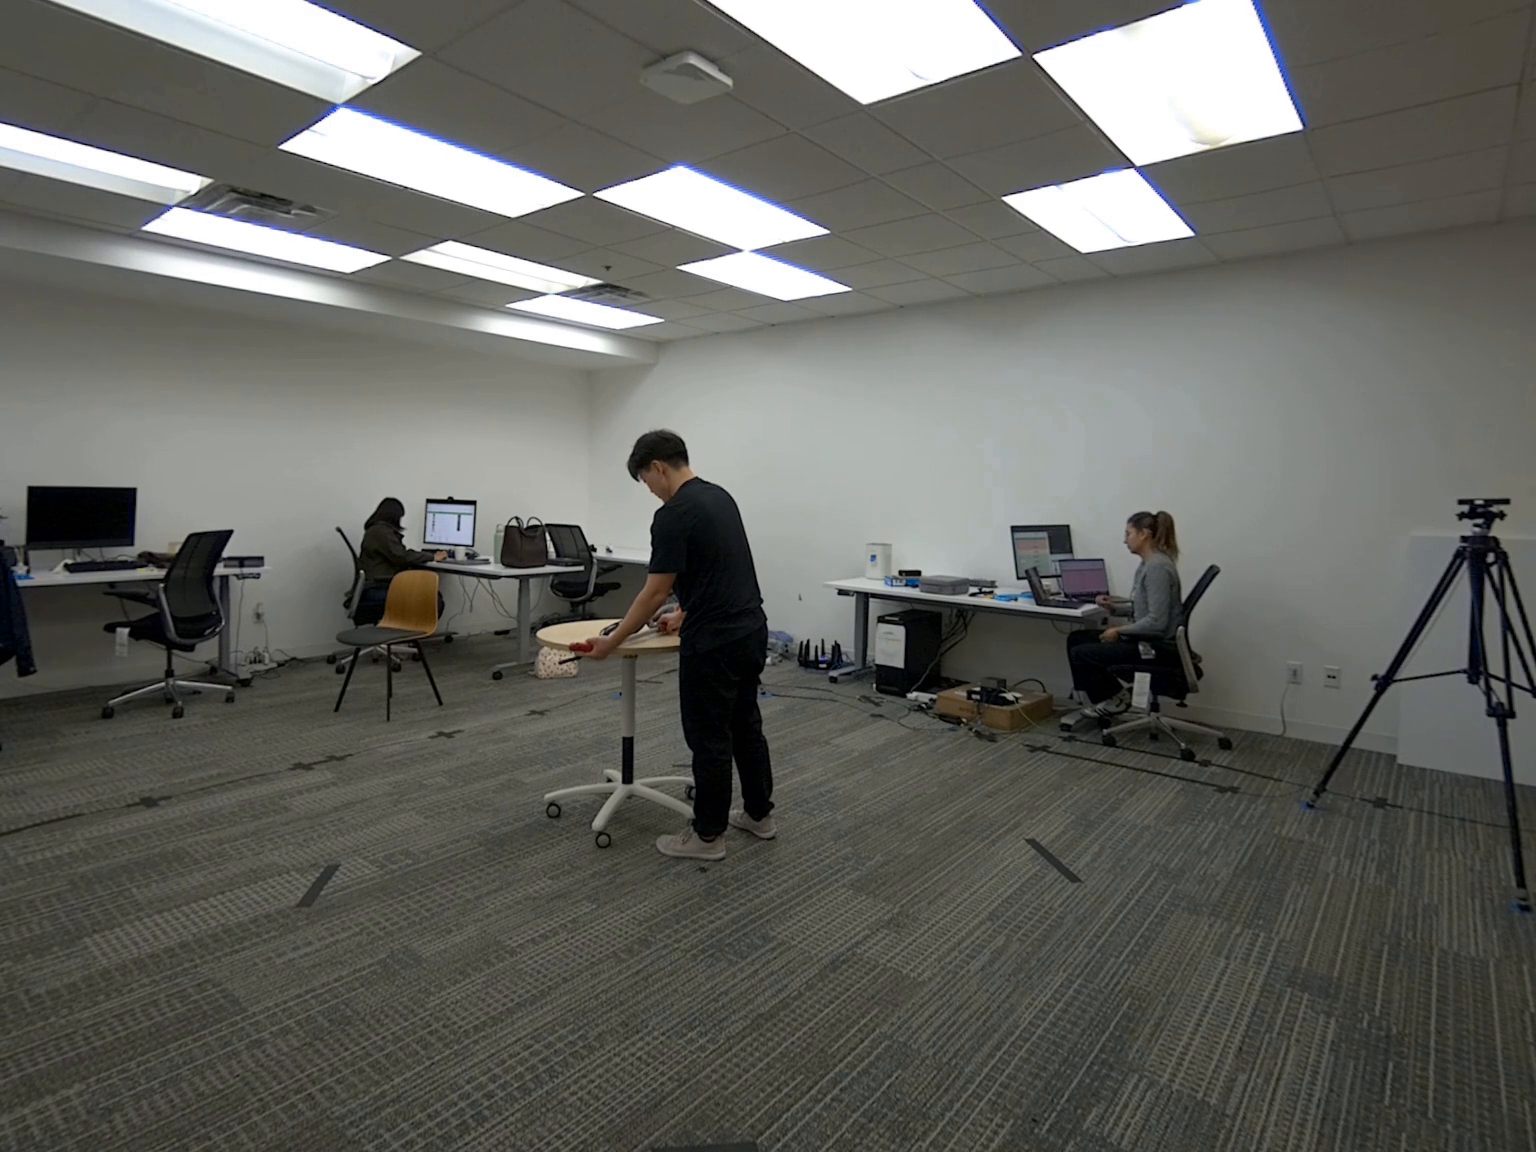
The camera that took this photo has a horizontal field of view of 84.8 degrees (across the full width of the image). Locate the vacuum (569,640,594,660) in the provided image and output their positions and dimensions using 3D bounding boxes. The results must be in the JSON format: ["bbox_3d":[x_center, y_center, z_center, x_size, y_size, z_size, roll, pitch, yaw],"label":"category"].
[{"bbox_3d":[-0.488,0.211,3.495,0.147,0.251,1.030,30,16,16],"label":"vacuum"}]
